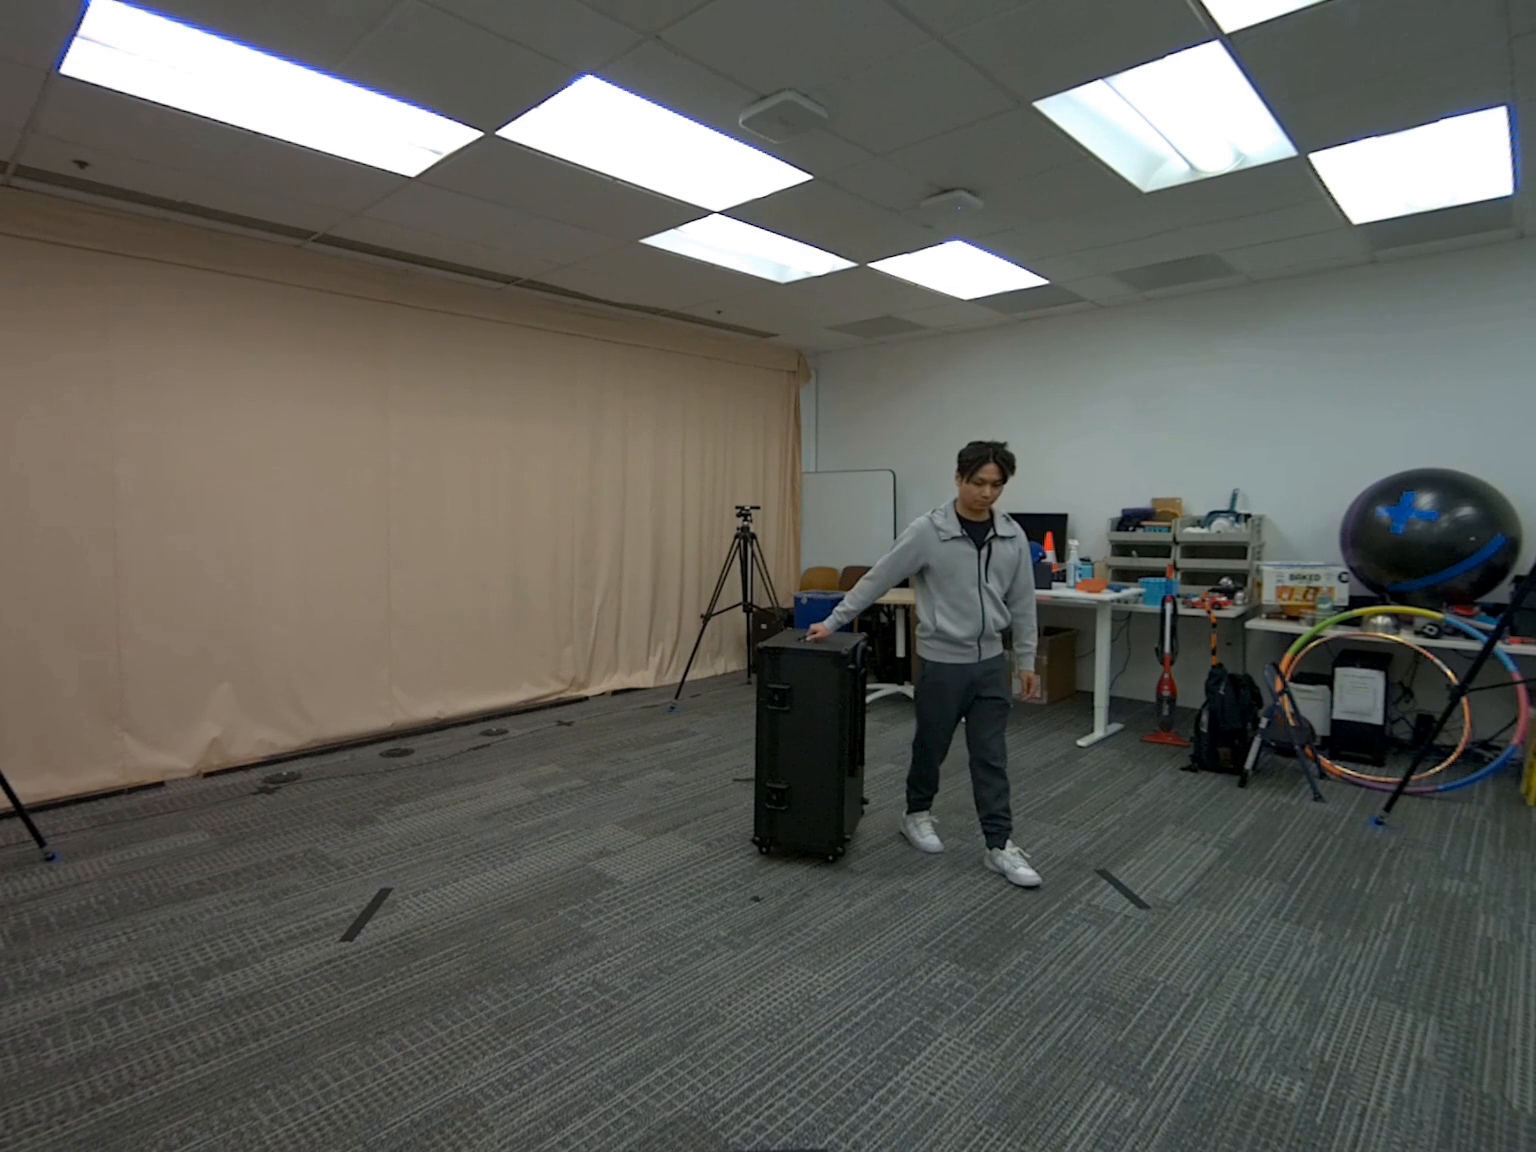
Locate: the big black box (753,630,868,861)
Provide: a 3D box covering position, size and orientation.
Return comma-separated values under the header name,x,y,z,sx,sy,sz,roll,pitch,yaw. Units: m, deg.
name,x,y,z,sx,sy,sz,roll,pitch,yaw
big black box,0.200,0.681,3.432,0.404,0.859,0.512,3,4,17
